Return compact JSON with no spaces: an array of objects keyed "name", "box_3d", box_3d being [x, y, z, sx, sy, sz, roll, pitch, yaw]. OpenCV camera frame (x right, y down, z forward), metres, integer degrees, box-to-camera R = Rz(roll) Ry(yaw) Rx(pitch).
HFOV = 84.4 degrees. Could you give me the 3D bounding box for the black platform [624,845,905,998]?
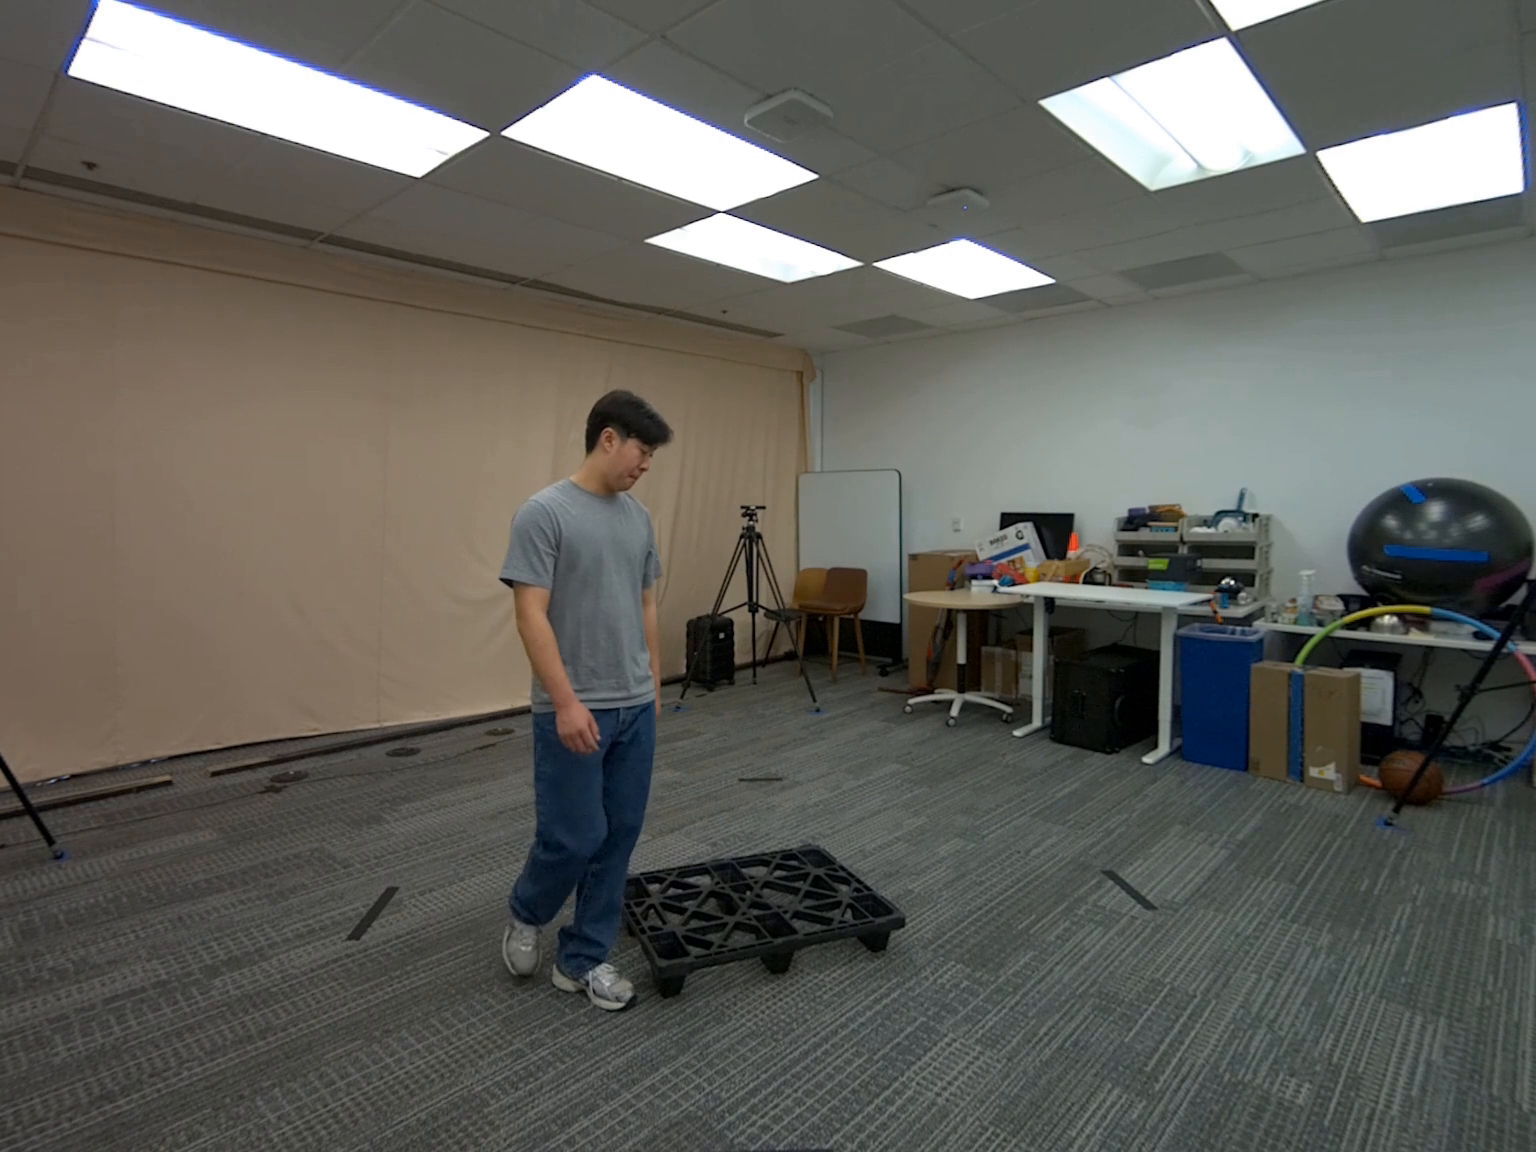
[{"name":"black platform","box_3d":[-0.056,1.099,2.723,0.788,0.143,0.619,-2,4,-22]}]
